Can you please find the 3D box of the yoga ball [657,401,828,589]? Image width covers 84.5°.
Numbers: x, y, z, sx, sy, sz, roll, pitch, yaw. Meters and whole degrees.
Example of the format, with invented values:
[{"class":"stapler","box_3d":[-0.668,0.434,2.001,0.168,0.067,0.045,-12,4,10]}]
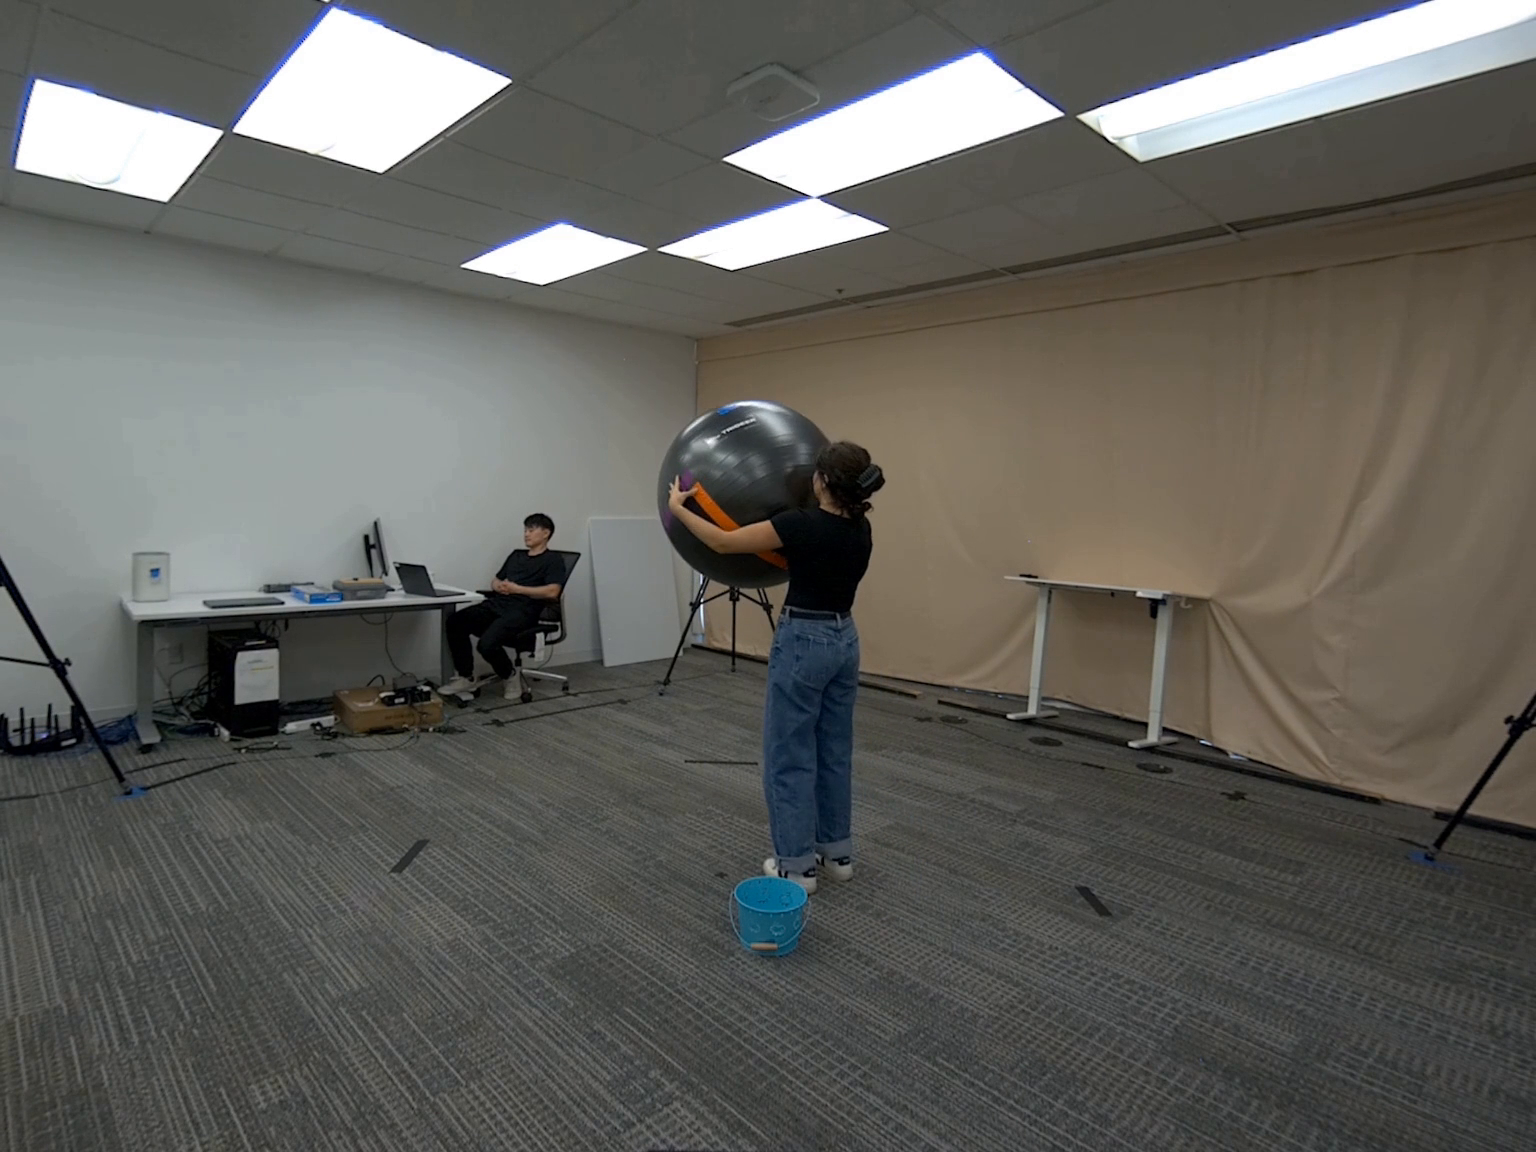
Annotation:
[{"class":"yoga ball","box_3d":[-0.080,-0.324,3.420,0.757,0.756,0.761,1,4,-1]}]
